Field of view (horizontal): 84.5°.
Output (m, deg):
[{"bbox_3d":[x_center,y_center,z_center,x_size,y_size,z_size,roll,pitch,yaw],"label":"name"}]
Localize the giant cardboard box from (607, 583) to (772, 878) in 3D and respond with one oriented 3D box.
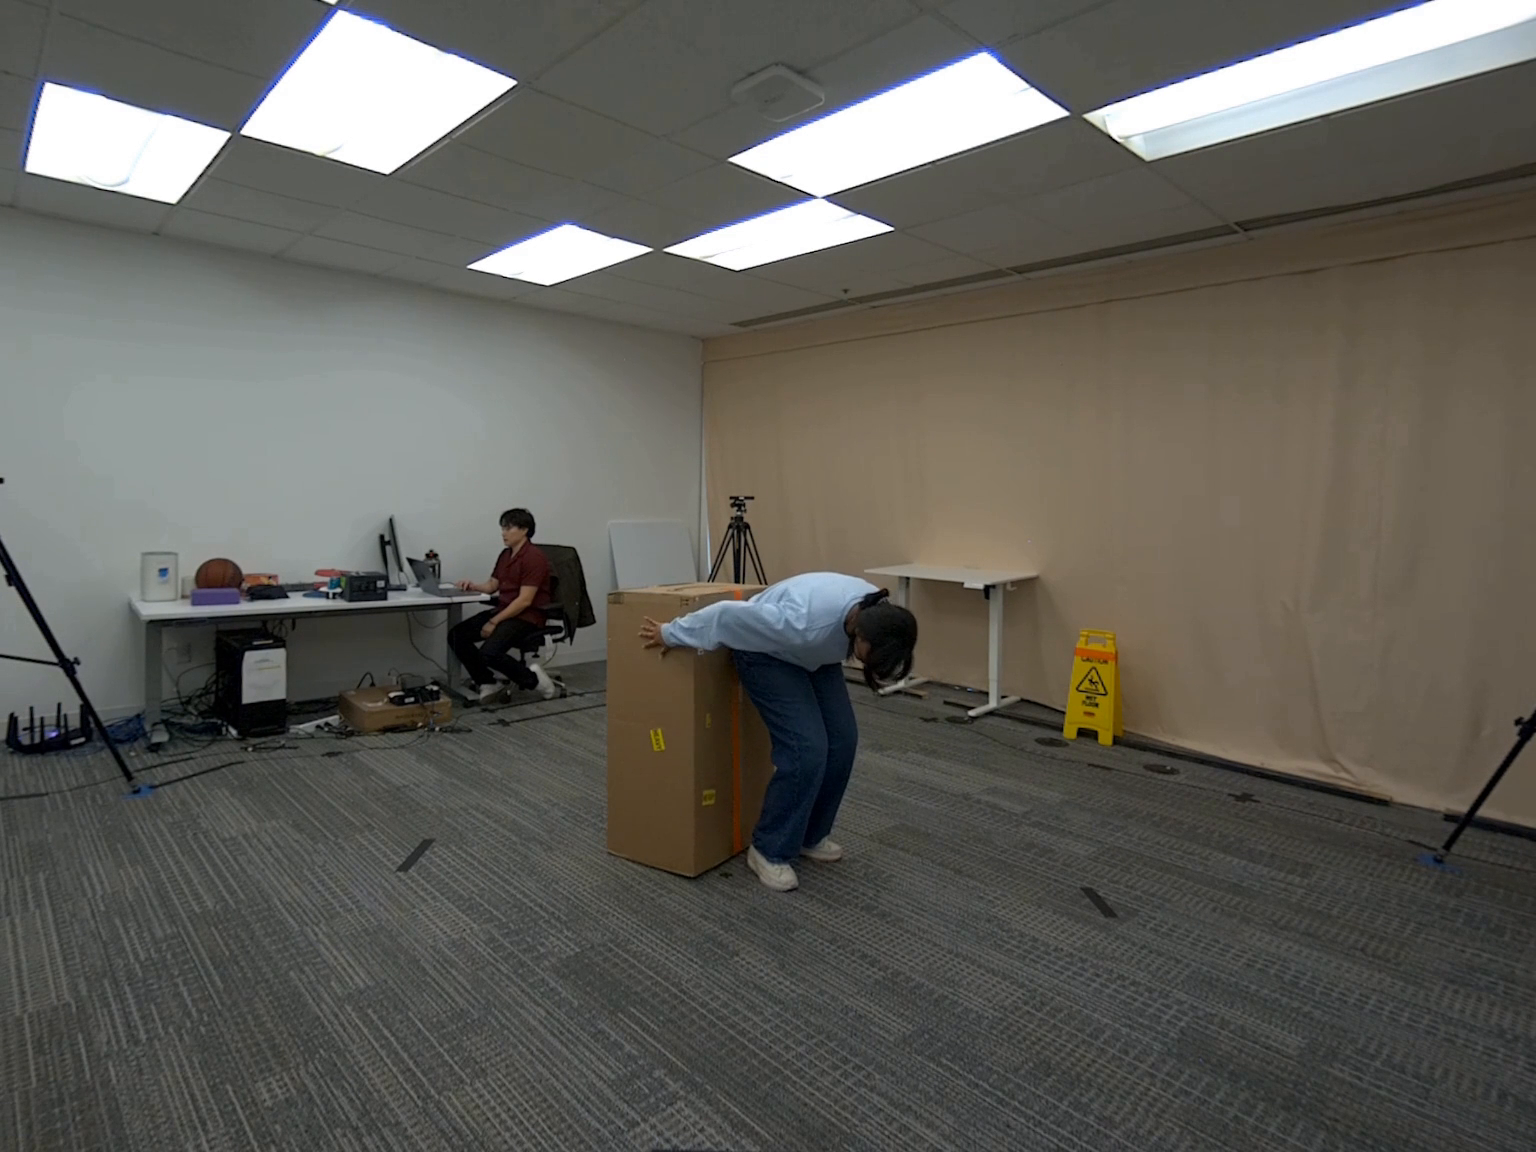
[{"bbox_3d":[-0.305,0.560,3.389,0.435,1.025,0.565,0,1,33],"label":"giant cardboard box"}]
